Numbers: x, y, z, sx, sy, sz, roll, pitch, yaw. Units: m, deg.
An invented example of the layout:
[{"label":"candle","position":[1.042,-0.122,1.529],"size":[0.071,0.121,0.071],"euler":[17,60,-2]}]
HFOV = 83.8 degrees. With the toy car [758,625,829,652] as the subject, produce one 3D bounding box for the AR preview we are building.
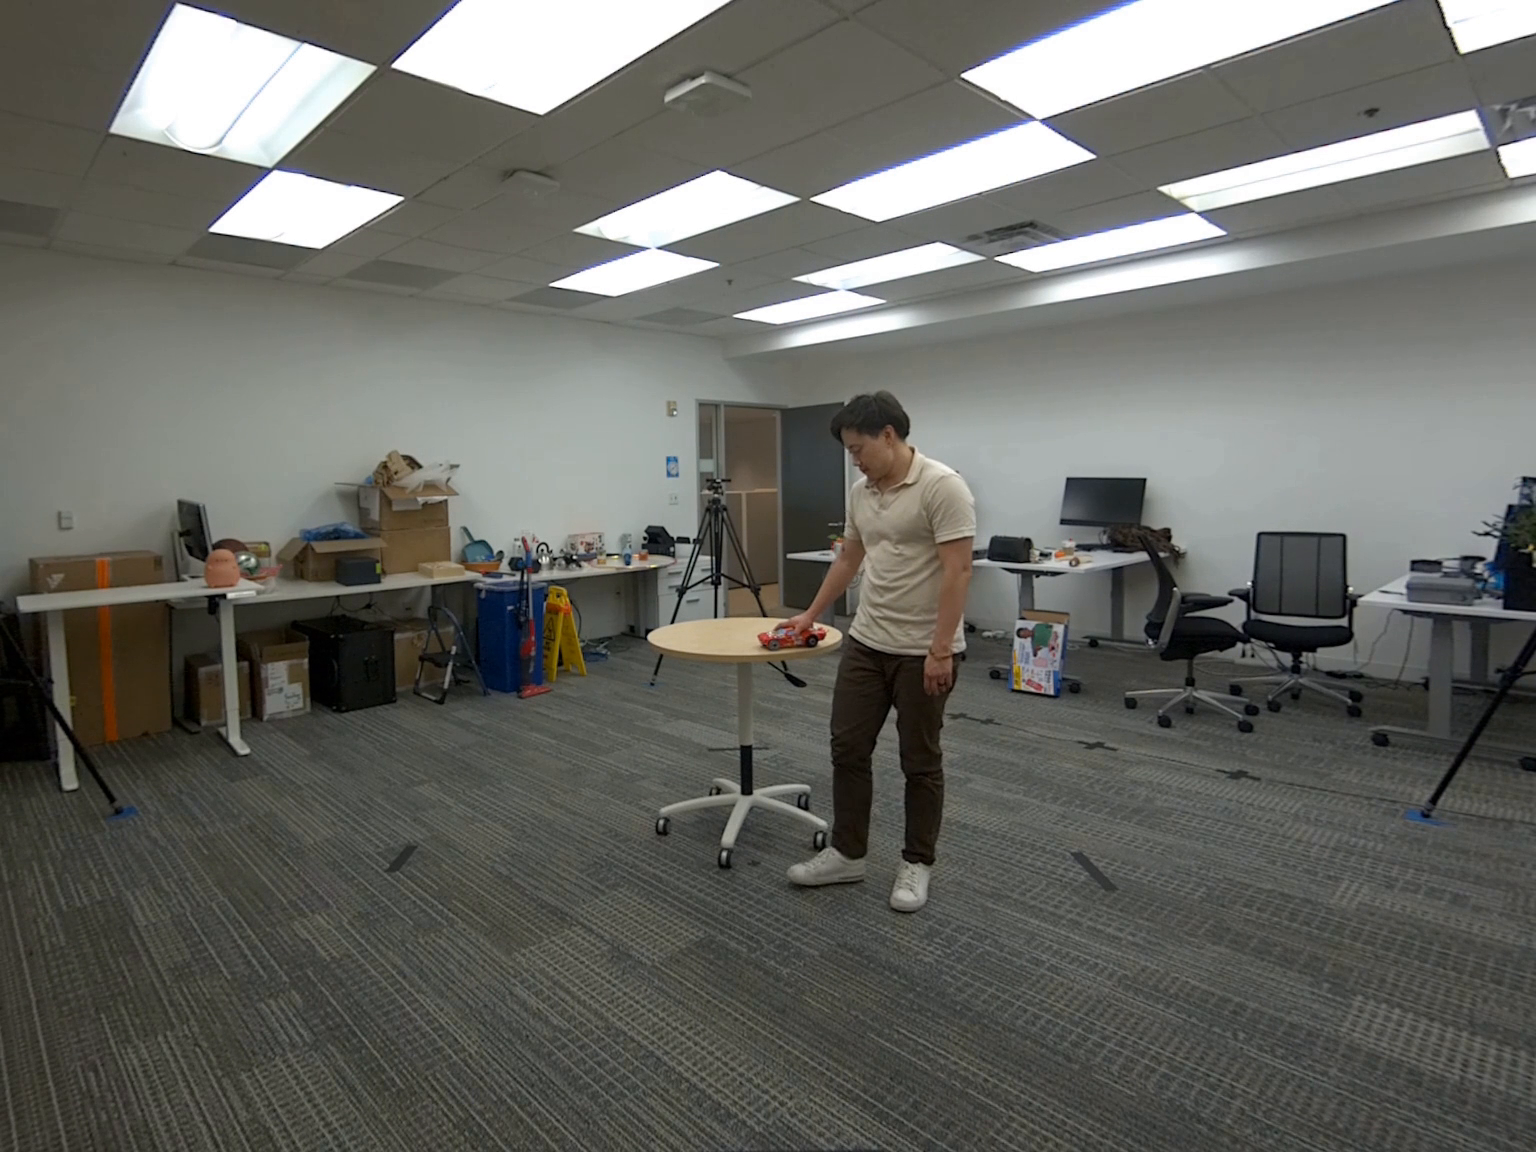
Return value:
[{"label":"toy car","position":[0.094,0.230,3.123],"size":[0.252,0.082,0.132],"euler":[-15,9,-12]}]
